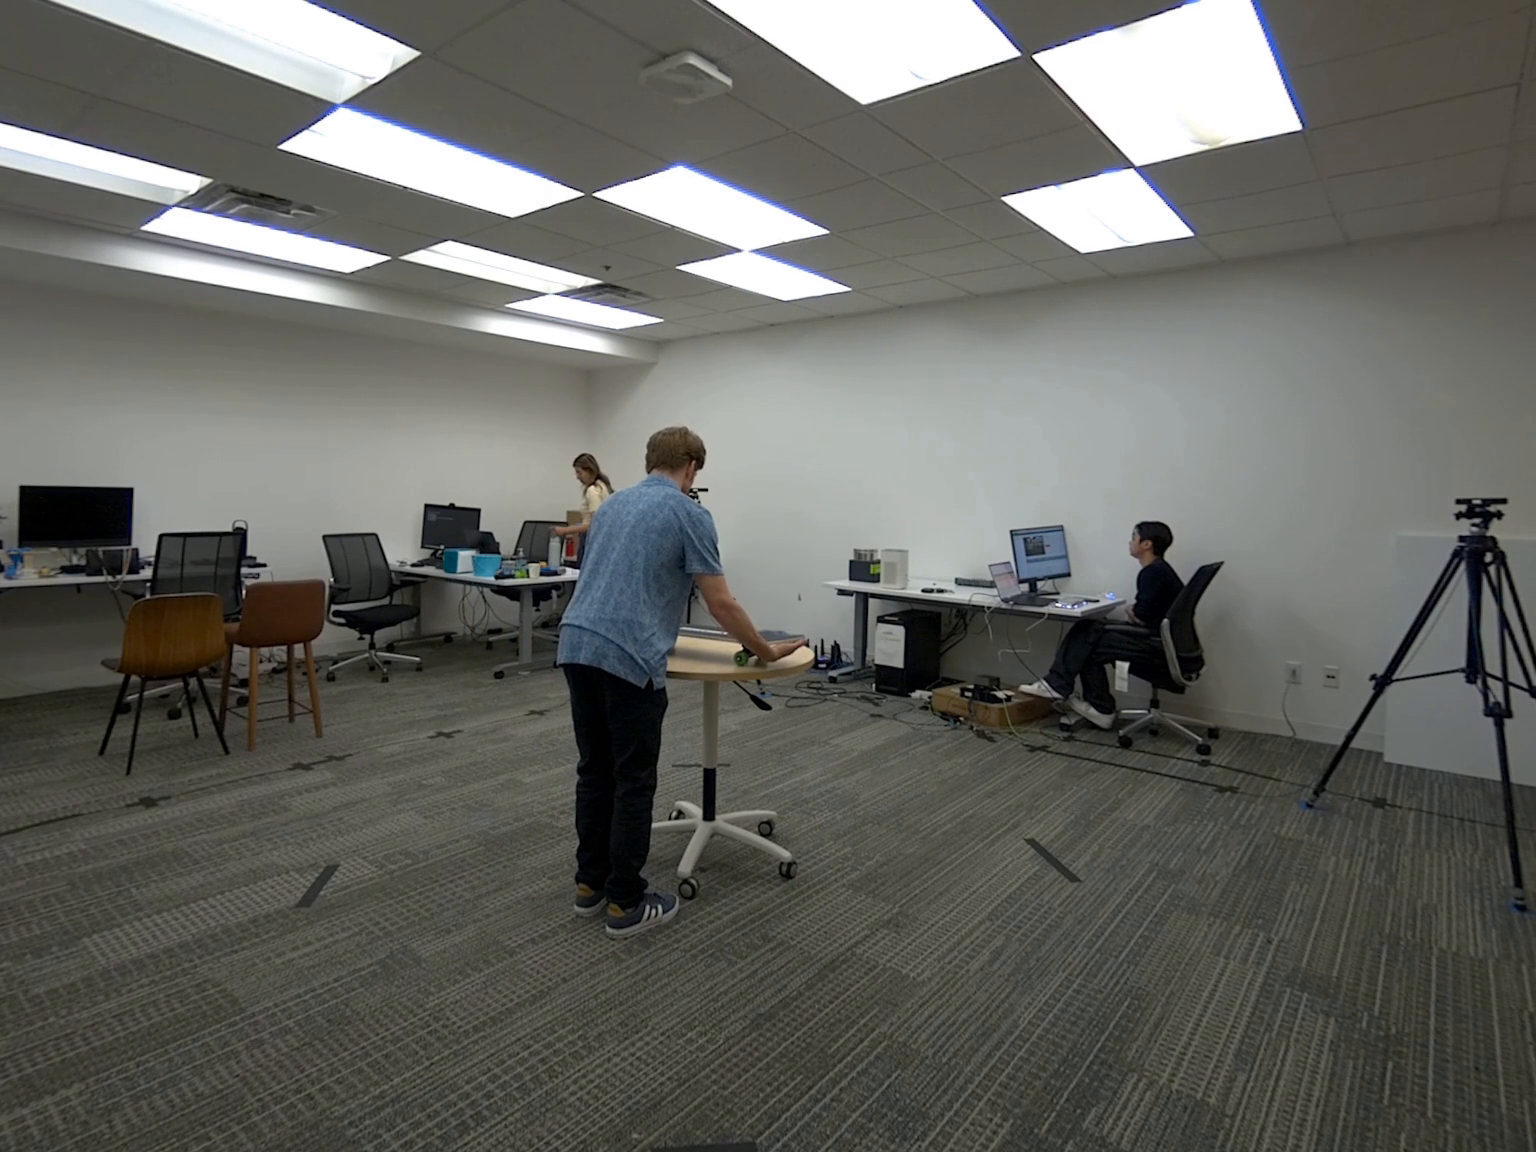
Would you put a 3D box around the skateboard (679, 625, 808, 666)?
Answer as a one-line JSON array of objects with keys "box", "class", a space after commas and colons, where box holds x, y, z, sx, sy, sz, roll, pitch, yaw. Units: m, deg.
[{"box": [-0.247, 0.235, 3.097, 0.808, 0.109, 0.189, 4, 9, 30], "class": "skateboard"}]
